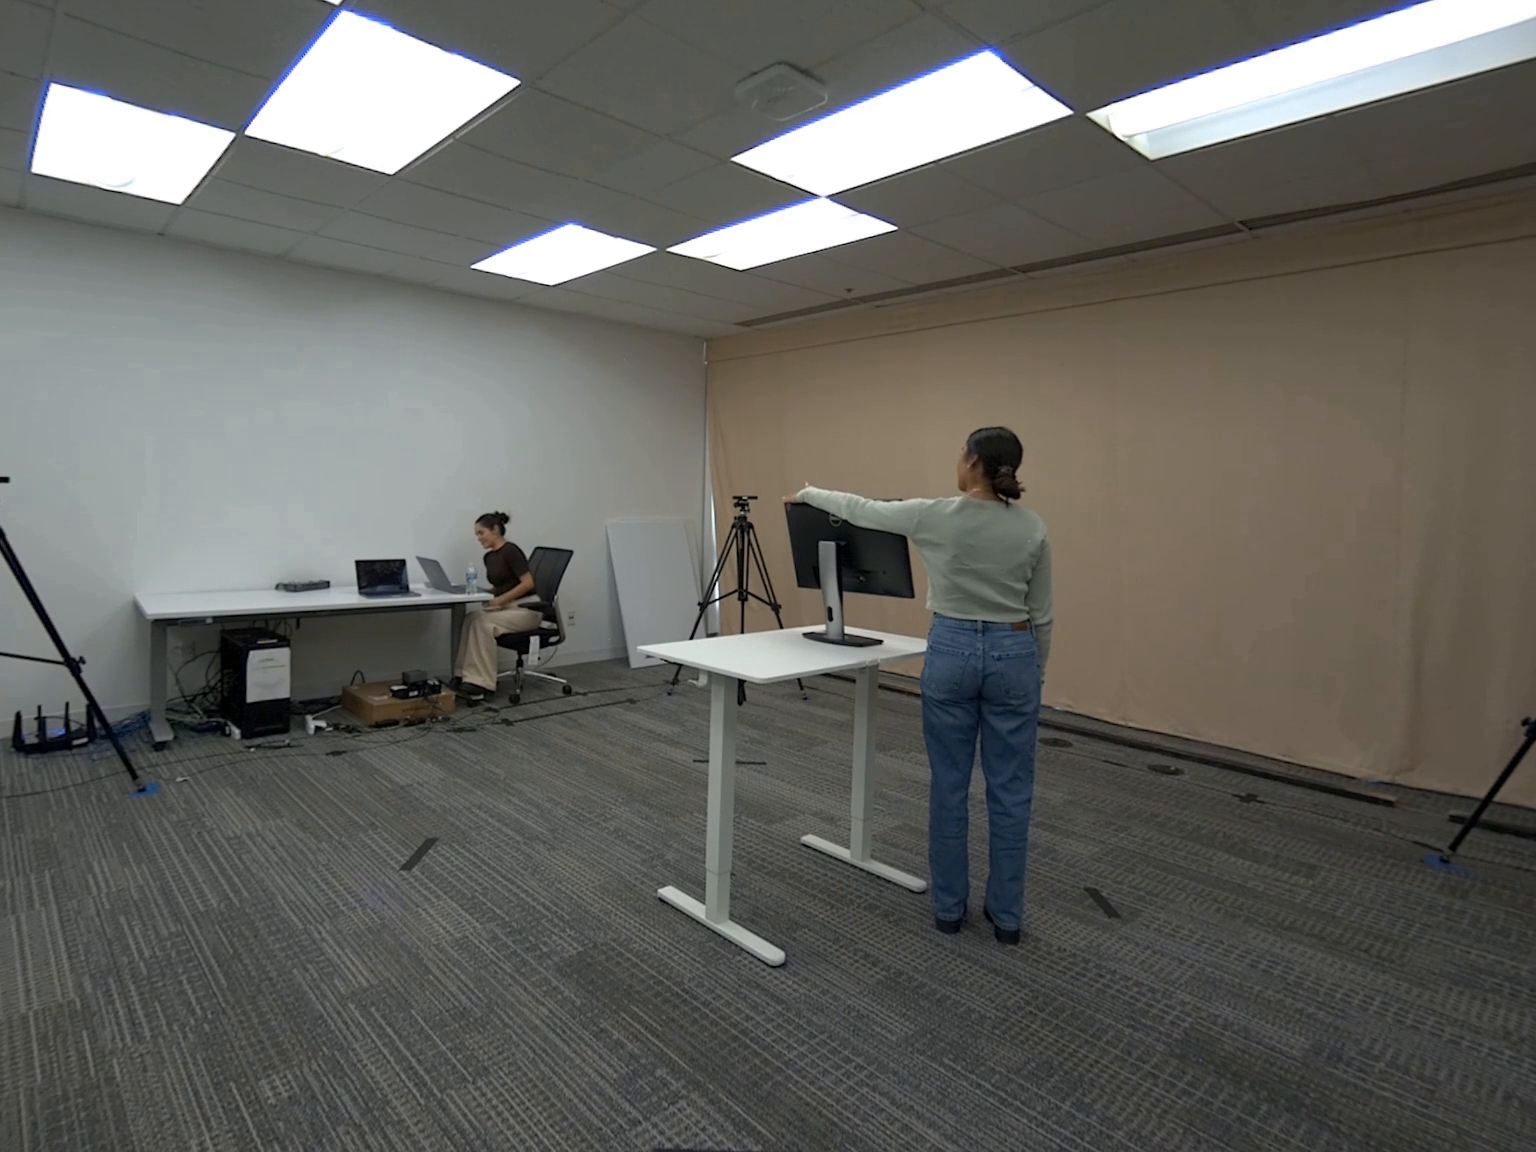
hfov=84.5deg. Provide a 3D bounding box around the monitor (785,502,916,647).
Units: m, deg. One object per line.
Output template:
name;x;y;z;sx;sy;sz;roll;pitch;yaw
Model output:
monitor;0.258;-0.015;3.045;0.553;0.520;0.183;6;7;43
